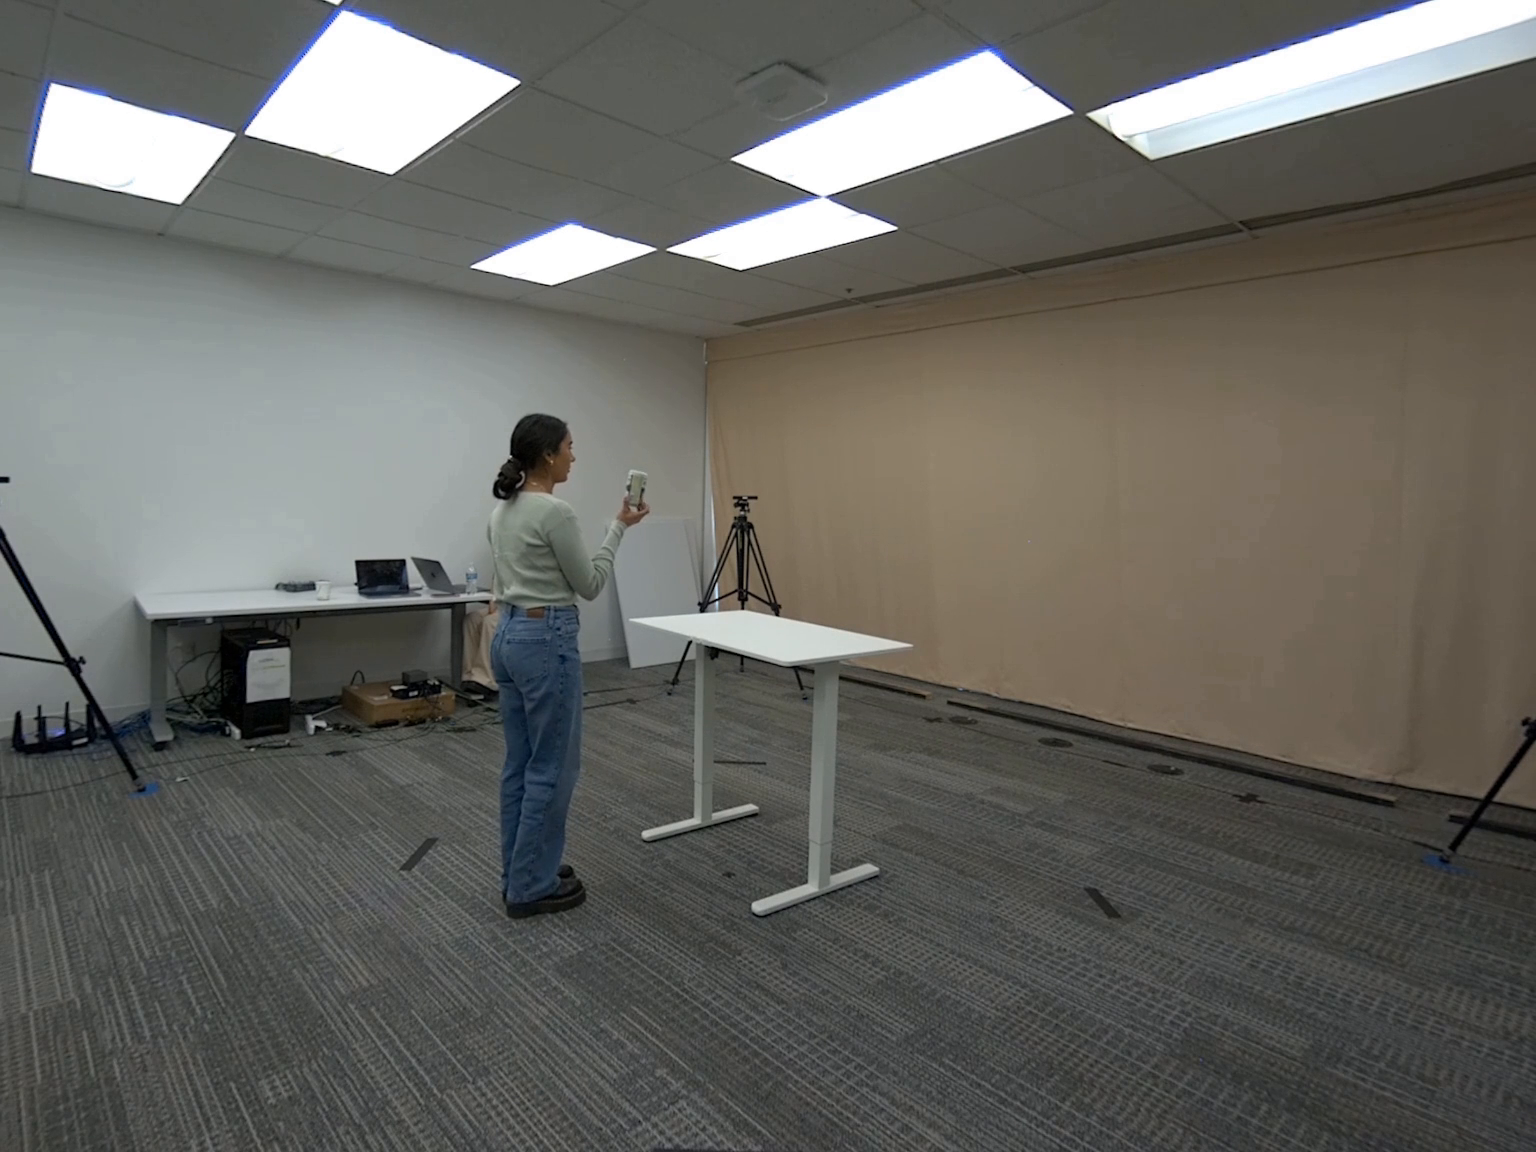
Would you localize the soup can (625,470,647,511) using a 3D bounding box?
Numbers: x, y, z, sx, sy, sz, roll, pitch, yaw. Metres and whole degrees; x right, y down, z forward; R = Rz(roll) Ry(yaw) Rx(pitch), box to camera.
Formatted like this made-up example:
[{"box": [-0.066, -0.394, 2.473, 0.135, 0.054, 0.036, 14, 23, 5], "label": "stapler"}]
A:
[{"box": [-0.464, -0.302, 2.897, 0.067, 0.121, 0.067, 8, 1, -2], "label": "soup can"}]
